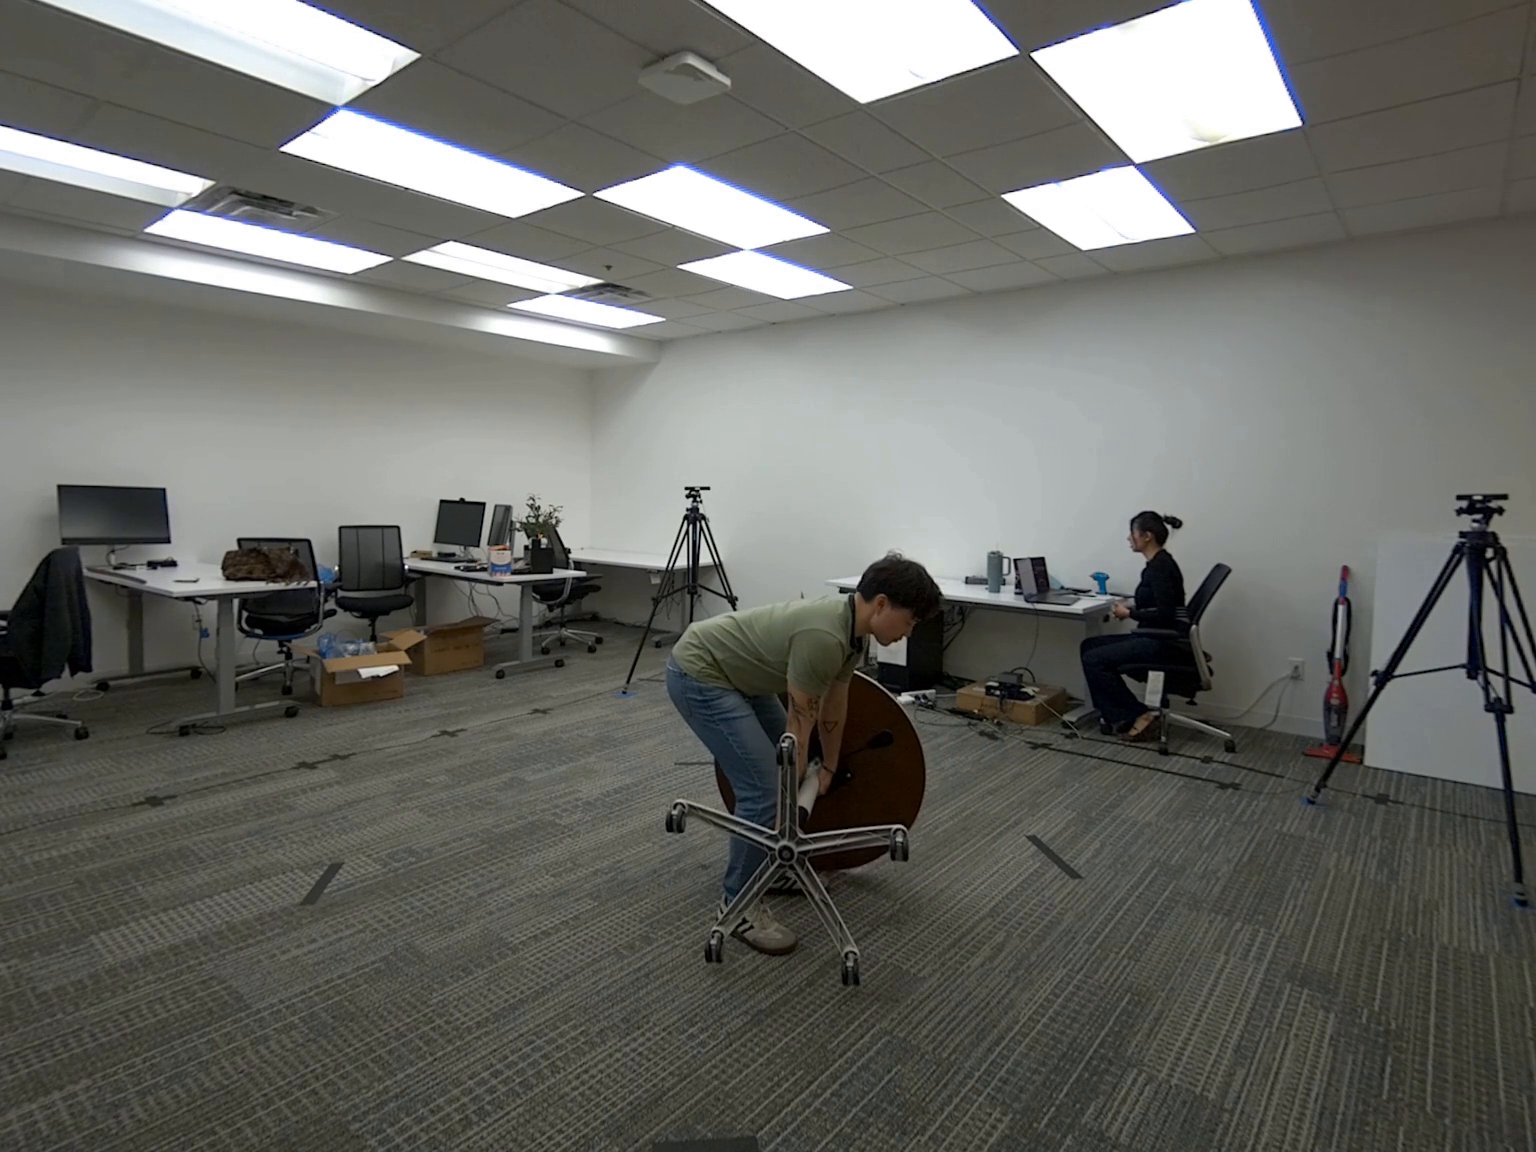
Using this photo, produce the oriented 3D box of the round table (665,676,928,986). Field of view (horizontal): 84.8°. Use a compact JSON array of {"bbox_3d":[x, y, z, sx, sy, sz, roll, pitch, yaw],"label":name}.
[{"bbox_3d":[0.108,0.742,2.702,0.775,0.759,0.789,2,8,12],"label":"round table"}]
